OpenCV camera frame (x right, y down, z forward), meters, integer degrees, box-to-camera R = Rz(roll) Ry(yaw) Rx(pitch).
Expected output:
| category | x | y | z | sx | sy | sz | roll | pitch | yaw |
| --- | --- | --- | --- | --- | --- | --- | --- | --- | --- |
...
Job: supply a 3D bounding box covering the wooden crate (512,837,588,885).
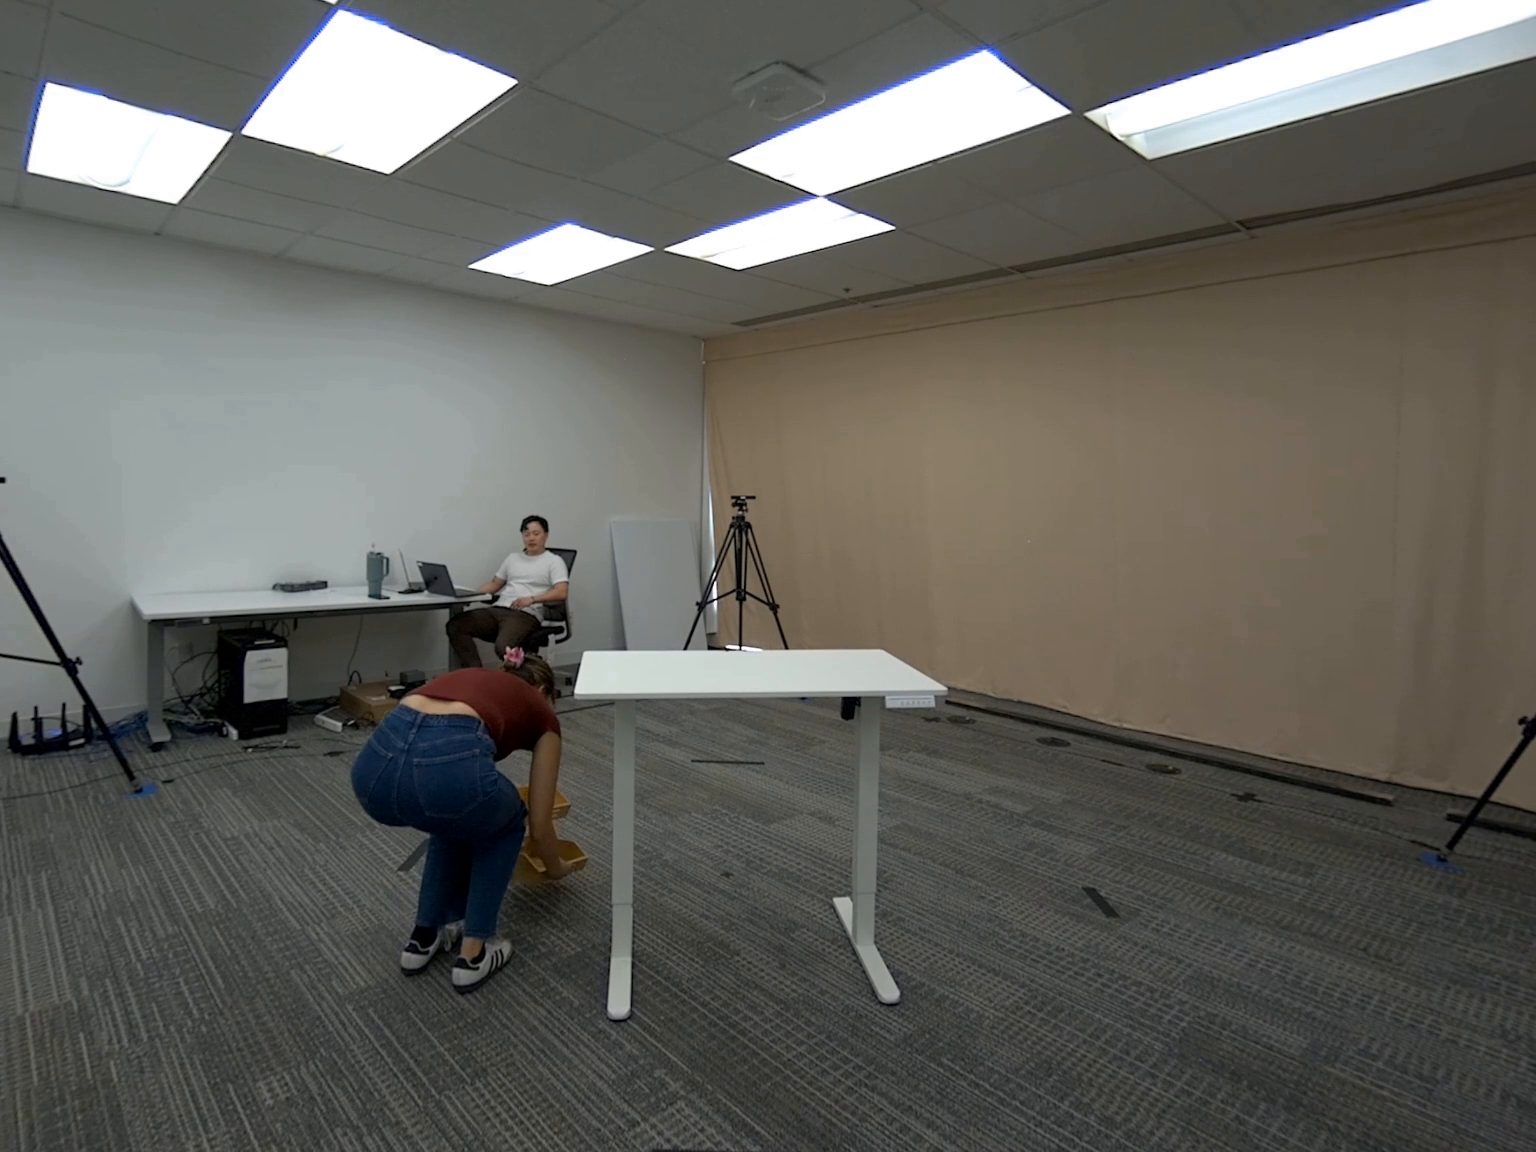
| category | x | y | z | sx | sy | sz | roll | pitch | yaw |
| --- | --- | --- | --- | --- | --- | --- | --- | --- | --- |
| wooden crate | -0.827 | 0.894 | 2.919 | 0.307 | 0.275 | 0.317 | 1 | -7 | 21 |
